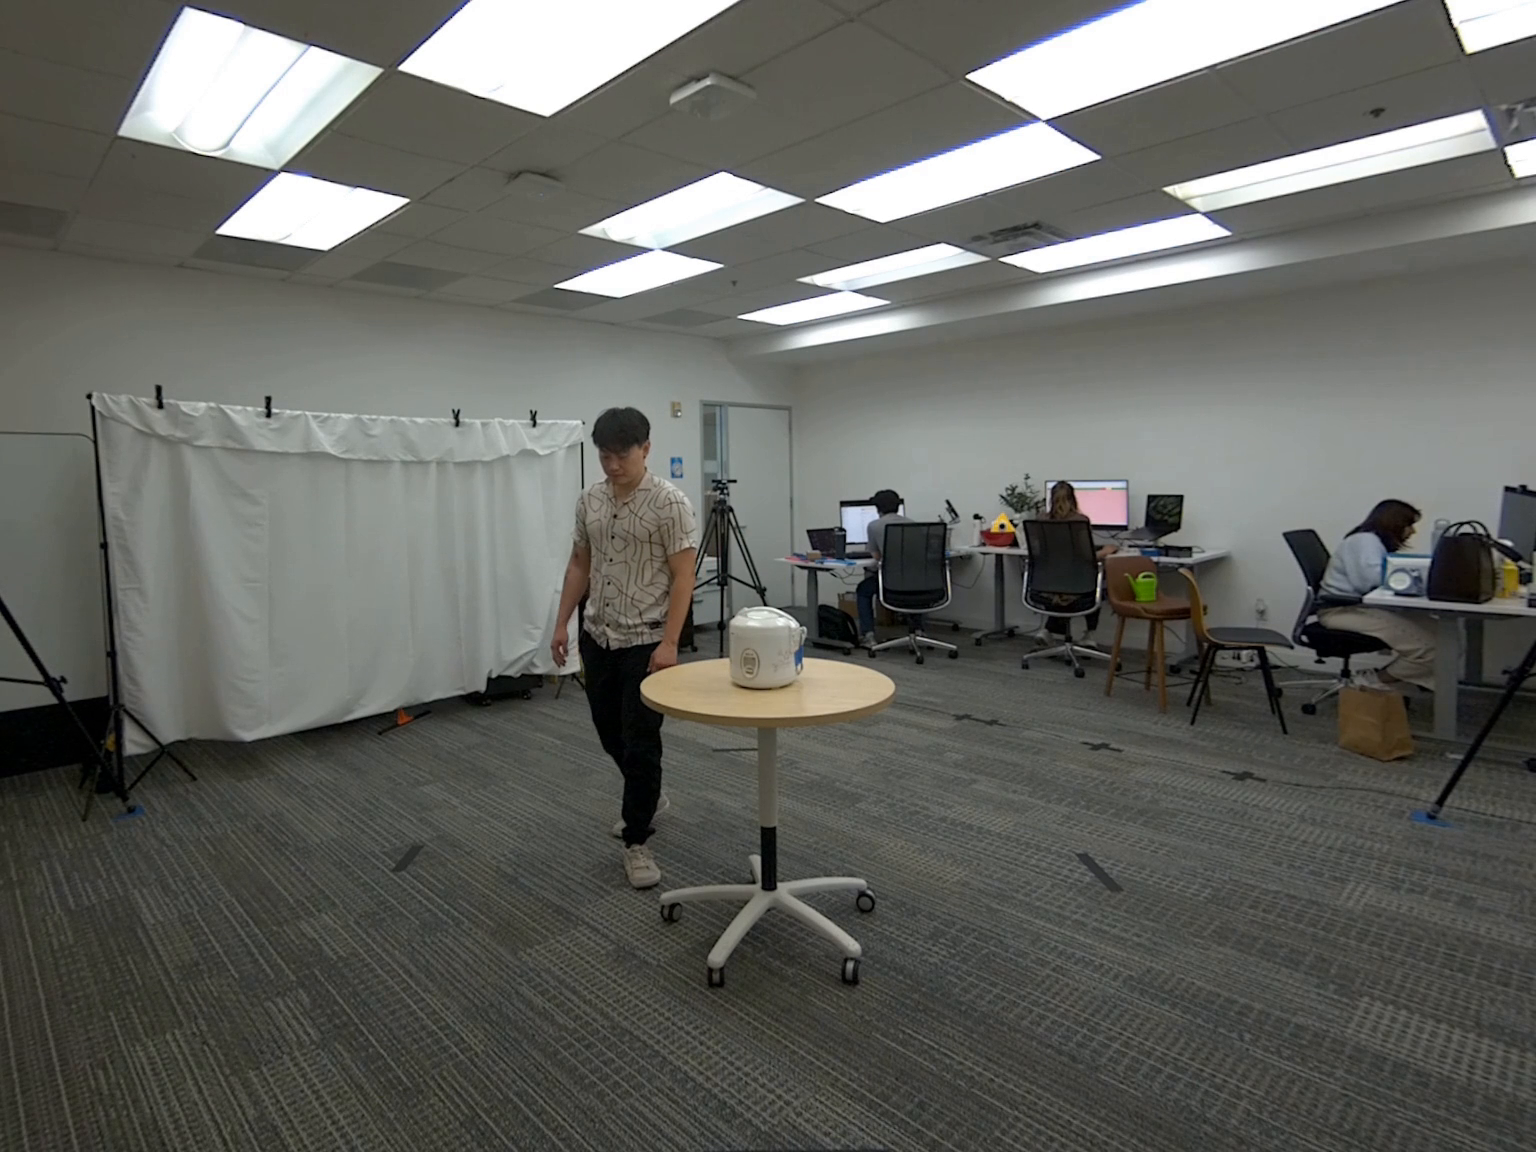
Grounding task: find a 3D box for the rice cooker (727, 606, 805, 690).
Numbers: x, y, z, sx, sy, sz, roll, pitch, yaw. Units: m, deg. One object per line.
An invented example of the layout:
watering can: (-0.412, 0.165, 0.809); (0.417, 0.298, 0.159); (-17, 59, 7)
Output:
rice cooker: (-0.006, 0.210, 2.580); (0.225, 0.232, 0.213); (1, 4, 23)
